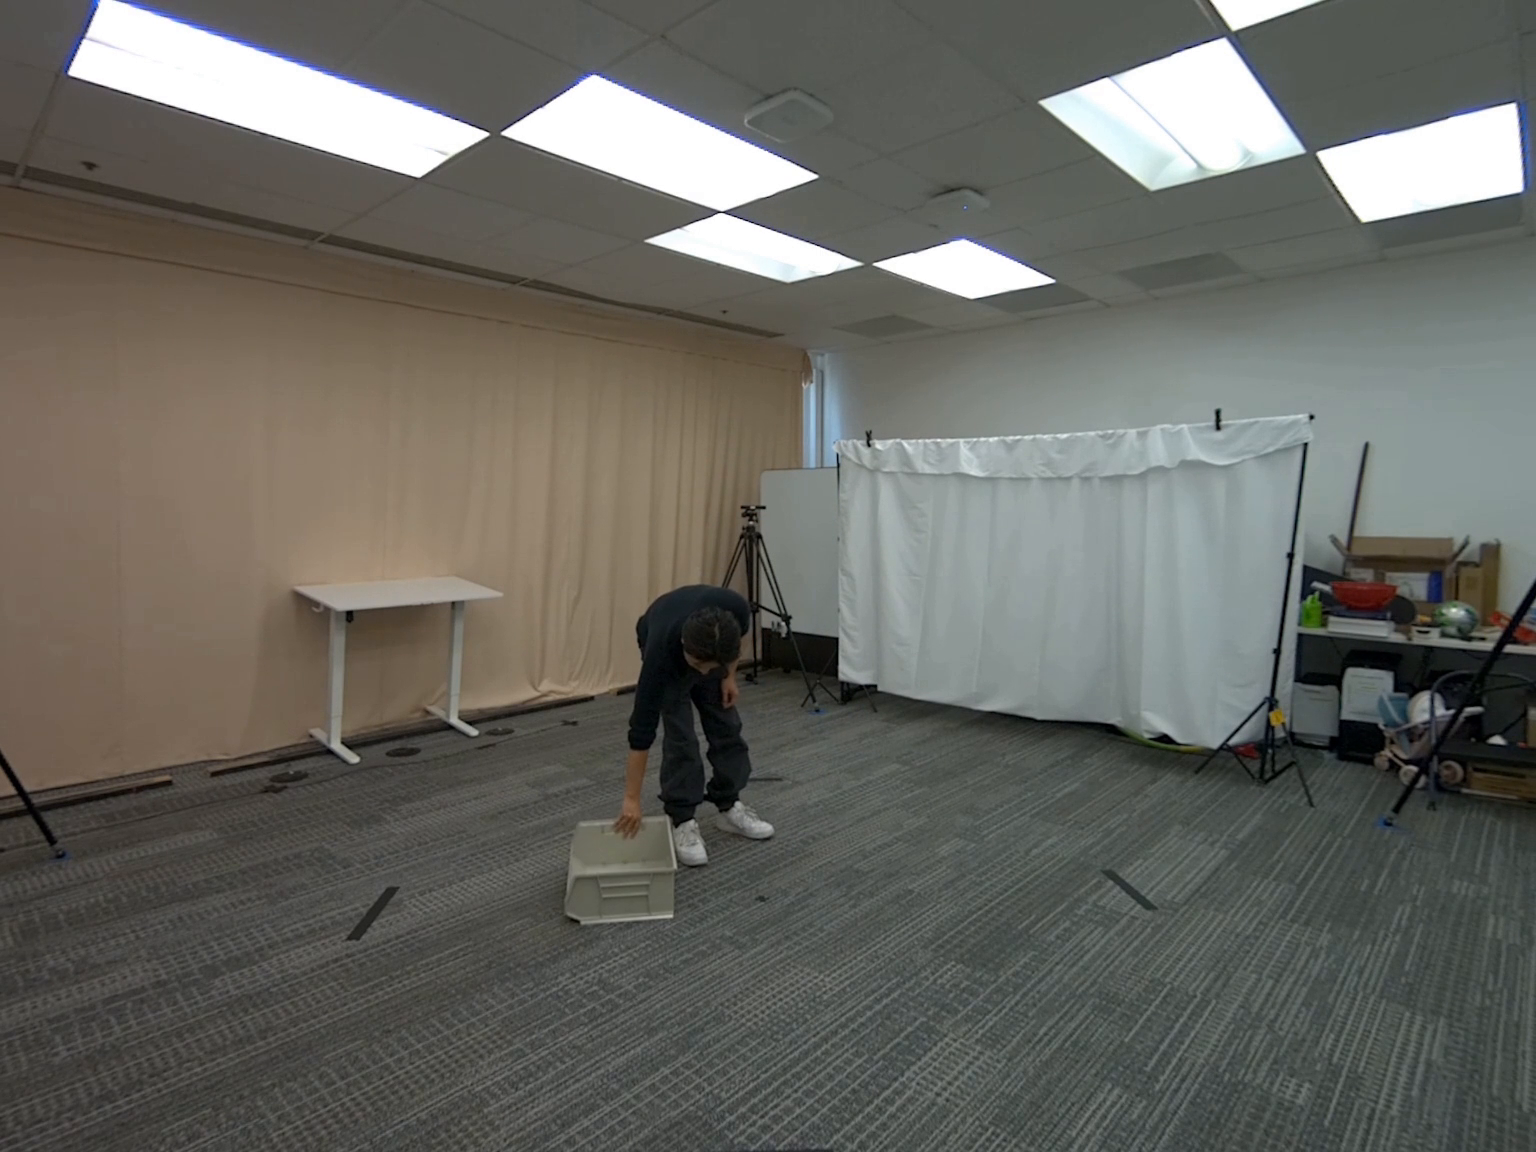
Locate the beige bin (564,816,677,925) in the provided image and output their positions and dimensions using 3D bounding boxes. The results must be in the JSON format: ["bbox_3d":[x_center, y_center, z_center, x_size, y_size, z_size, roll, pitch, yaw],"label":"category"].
[{"bbox_3d":[-0.532,1.049,3.012,0.374,0.188,0.428,-1,6,-9],"label":"beige bin"}]
